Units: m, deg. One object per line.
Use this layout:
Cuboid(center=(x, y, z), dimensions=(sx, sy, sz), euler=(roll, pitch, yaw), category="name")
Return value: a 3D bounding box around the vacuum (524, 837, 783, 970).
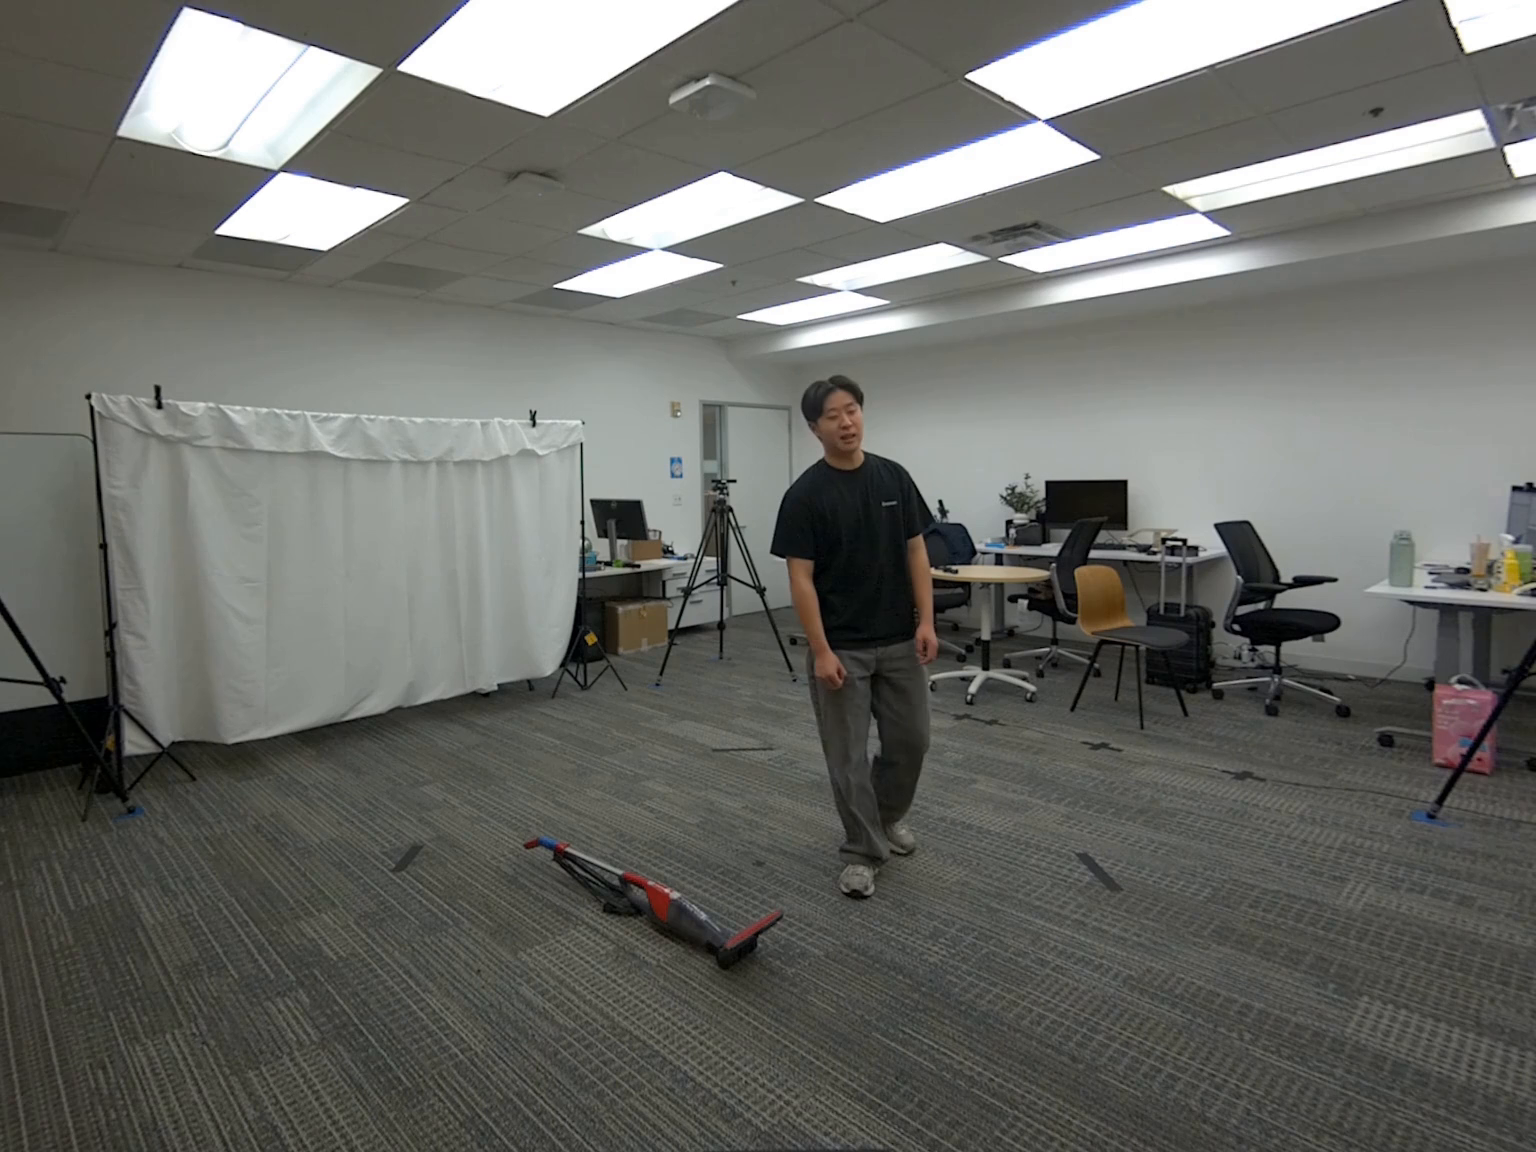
Cuboid(center=(-0.466, 1.031, 2.796), dimensions=(1.081, 0.143, 0.246), euler=(4, 7, 39), category="vacuum")
